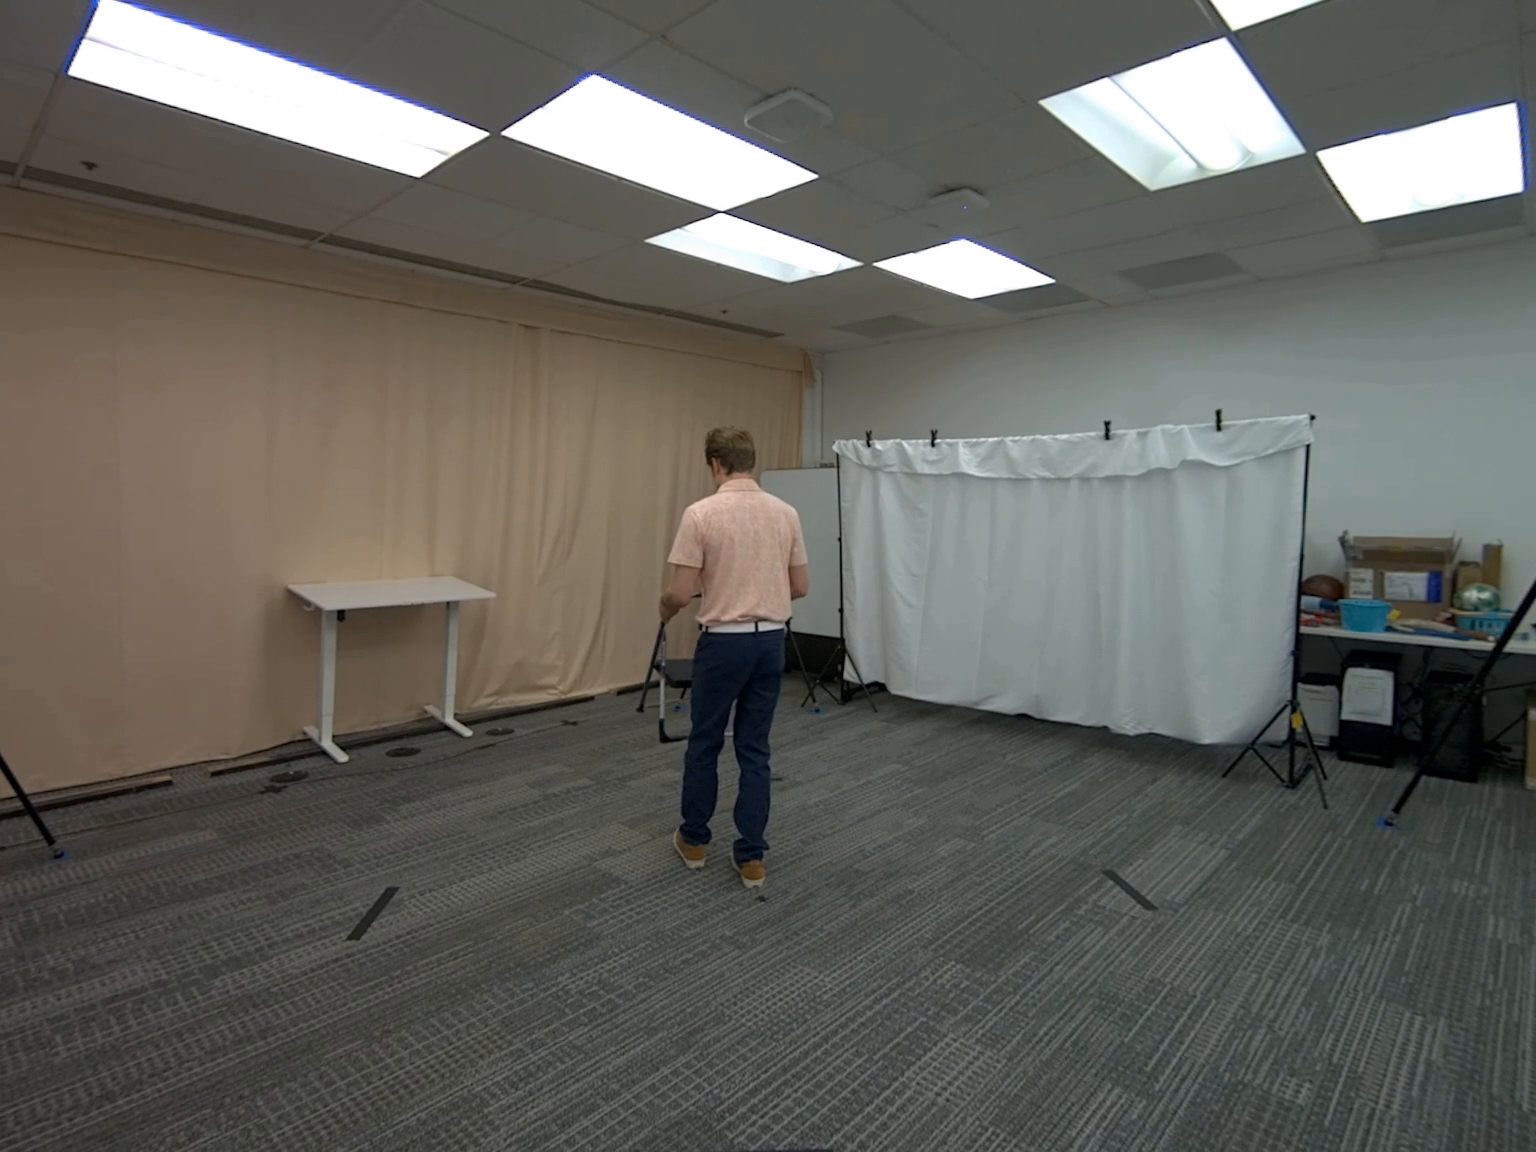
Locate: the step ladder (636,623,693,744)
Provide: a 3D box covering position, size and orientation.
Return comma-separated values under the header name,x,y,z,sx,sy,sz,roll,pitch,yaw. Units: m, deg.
name,x,y,z,sx,sy,sz,roll,pitch,yaw
step ladder,-0.282,0.340,3.530,0.420,0.602,0.360,1,14,-24
